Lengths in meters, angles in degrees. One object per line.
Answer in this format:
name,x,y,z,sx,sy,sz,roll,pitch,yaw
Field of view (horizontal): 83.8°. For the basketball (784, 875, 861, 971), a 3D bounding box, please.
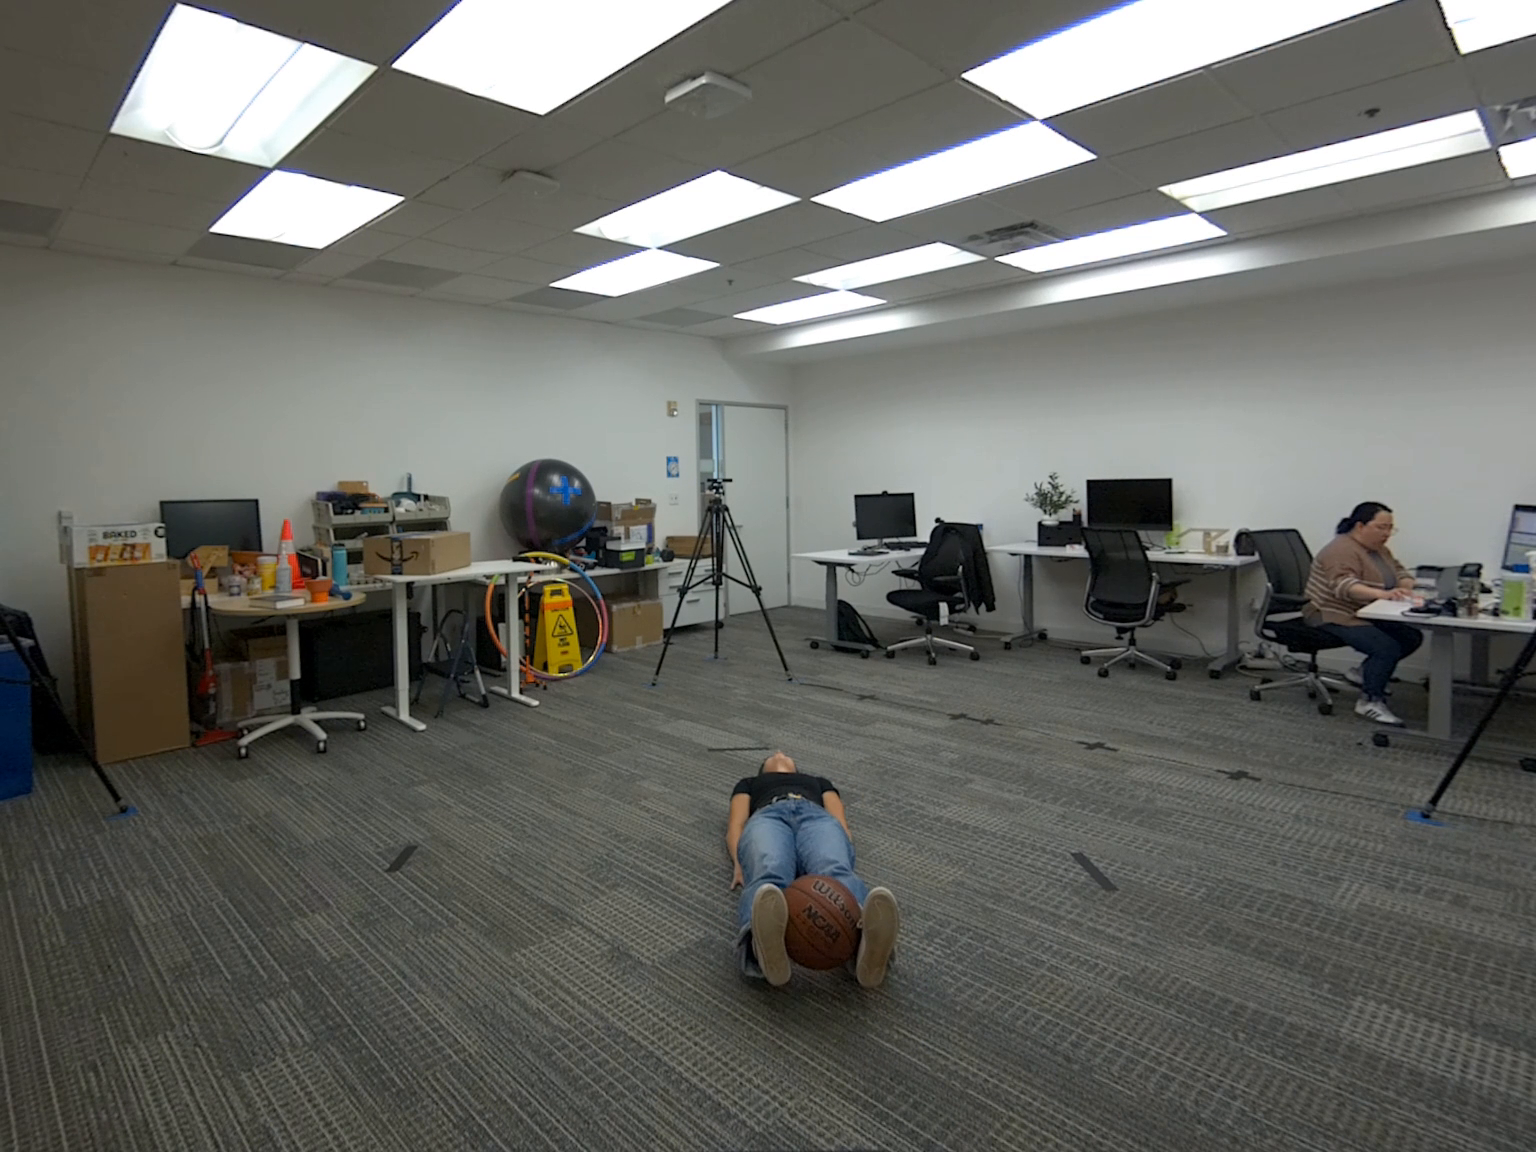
basketball,0.142,0.932,2.327,0.236,0.235,0.237,-1,5,-2
